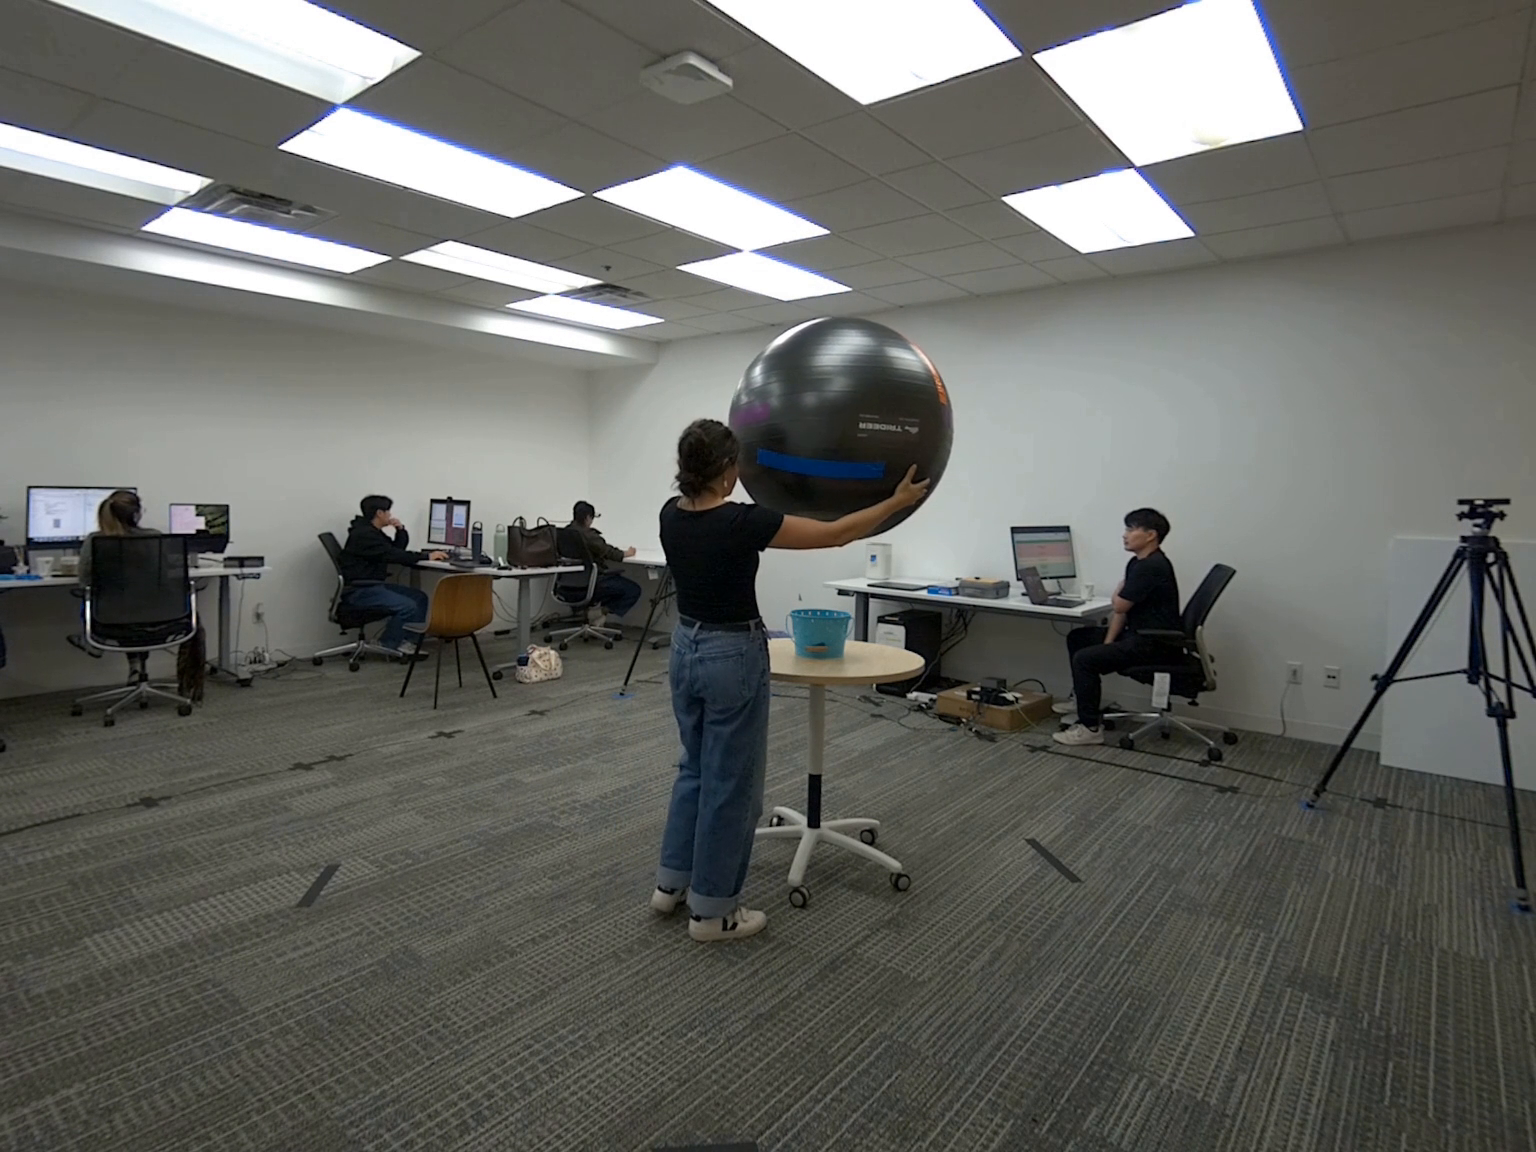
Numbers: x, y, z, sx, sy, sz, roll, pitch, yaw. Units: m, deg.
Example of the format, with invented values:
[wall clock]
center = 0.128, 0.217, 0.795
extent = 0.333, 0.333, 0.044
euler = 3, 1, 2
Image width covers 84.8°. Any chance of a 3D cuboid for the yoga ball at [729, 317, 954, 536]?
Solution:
[yoga ball]
center = 0.247, -0.502, 2.919
extent = 0.757, 0.756, 0.762
euler = 1, 4, -2
